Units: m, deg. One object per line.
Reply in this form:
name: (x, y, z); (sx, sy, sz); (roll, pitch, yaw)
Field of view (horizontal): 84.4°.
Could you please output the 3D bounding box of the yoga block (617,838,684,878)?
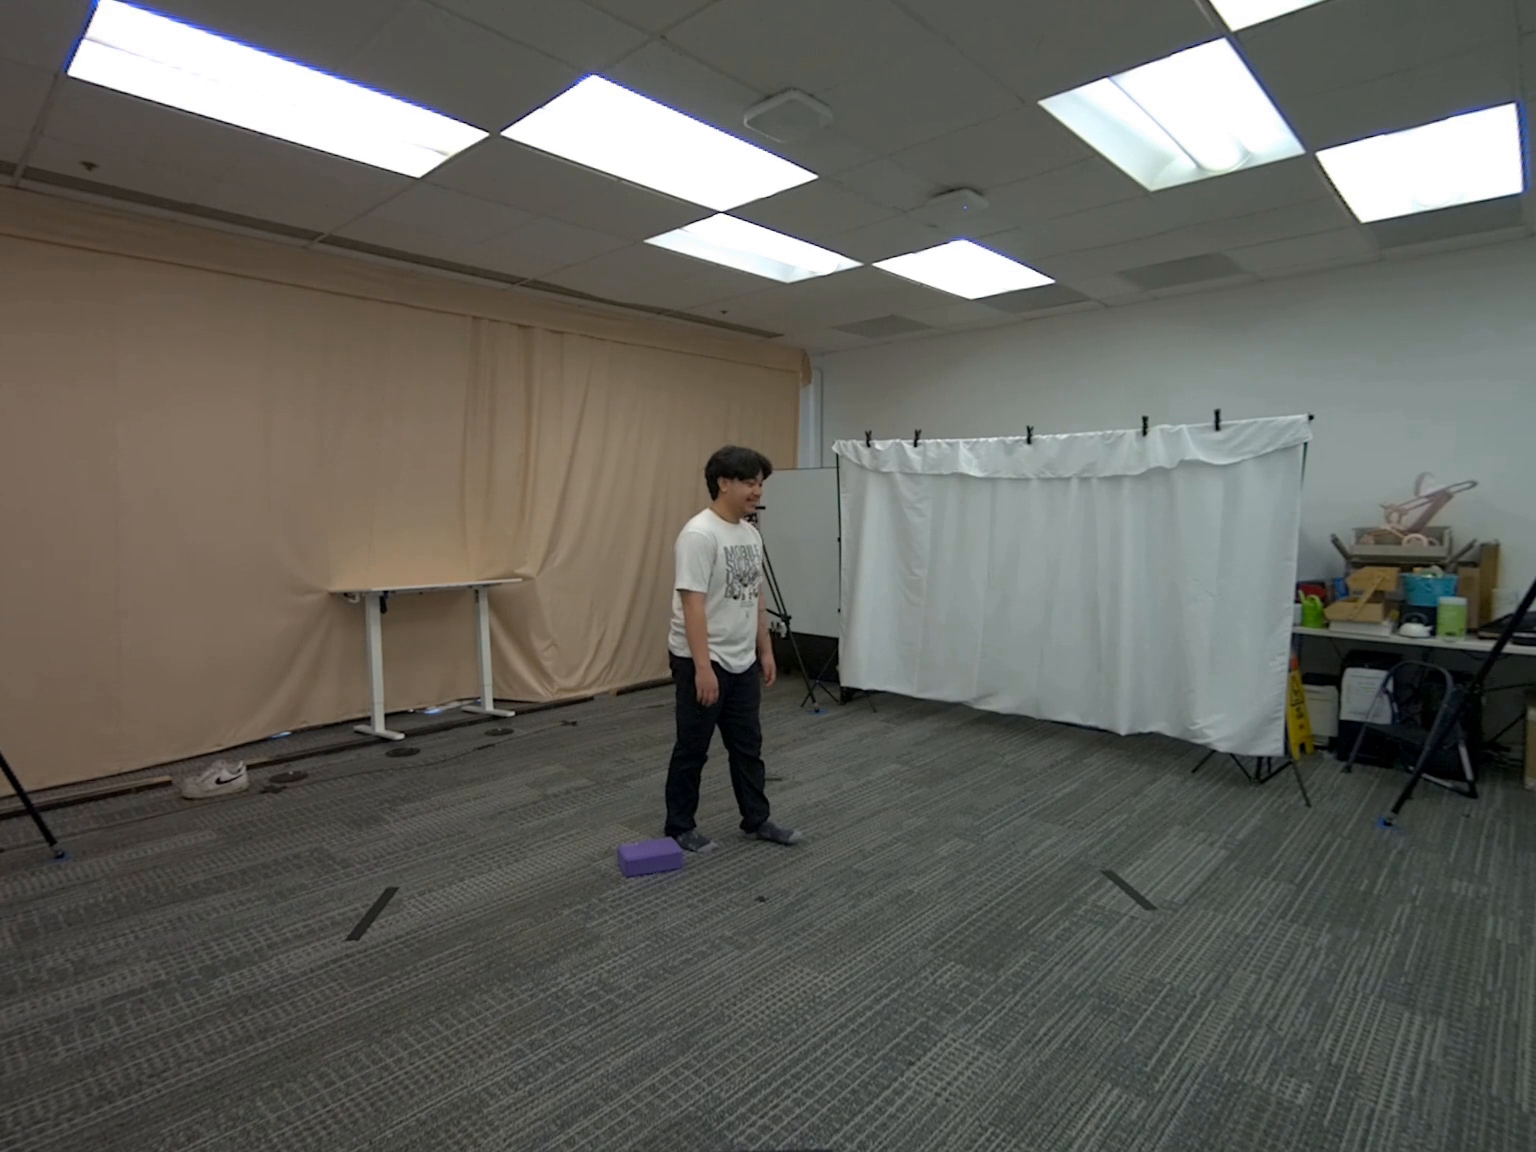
yoga block: (-0.457, 1.084, 3.255); (0.225, 0.076, 0.152); (-3, 5, -21)
